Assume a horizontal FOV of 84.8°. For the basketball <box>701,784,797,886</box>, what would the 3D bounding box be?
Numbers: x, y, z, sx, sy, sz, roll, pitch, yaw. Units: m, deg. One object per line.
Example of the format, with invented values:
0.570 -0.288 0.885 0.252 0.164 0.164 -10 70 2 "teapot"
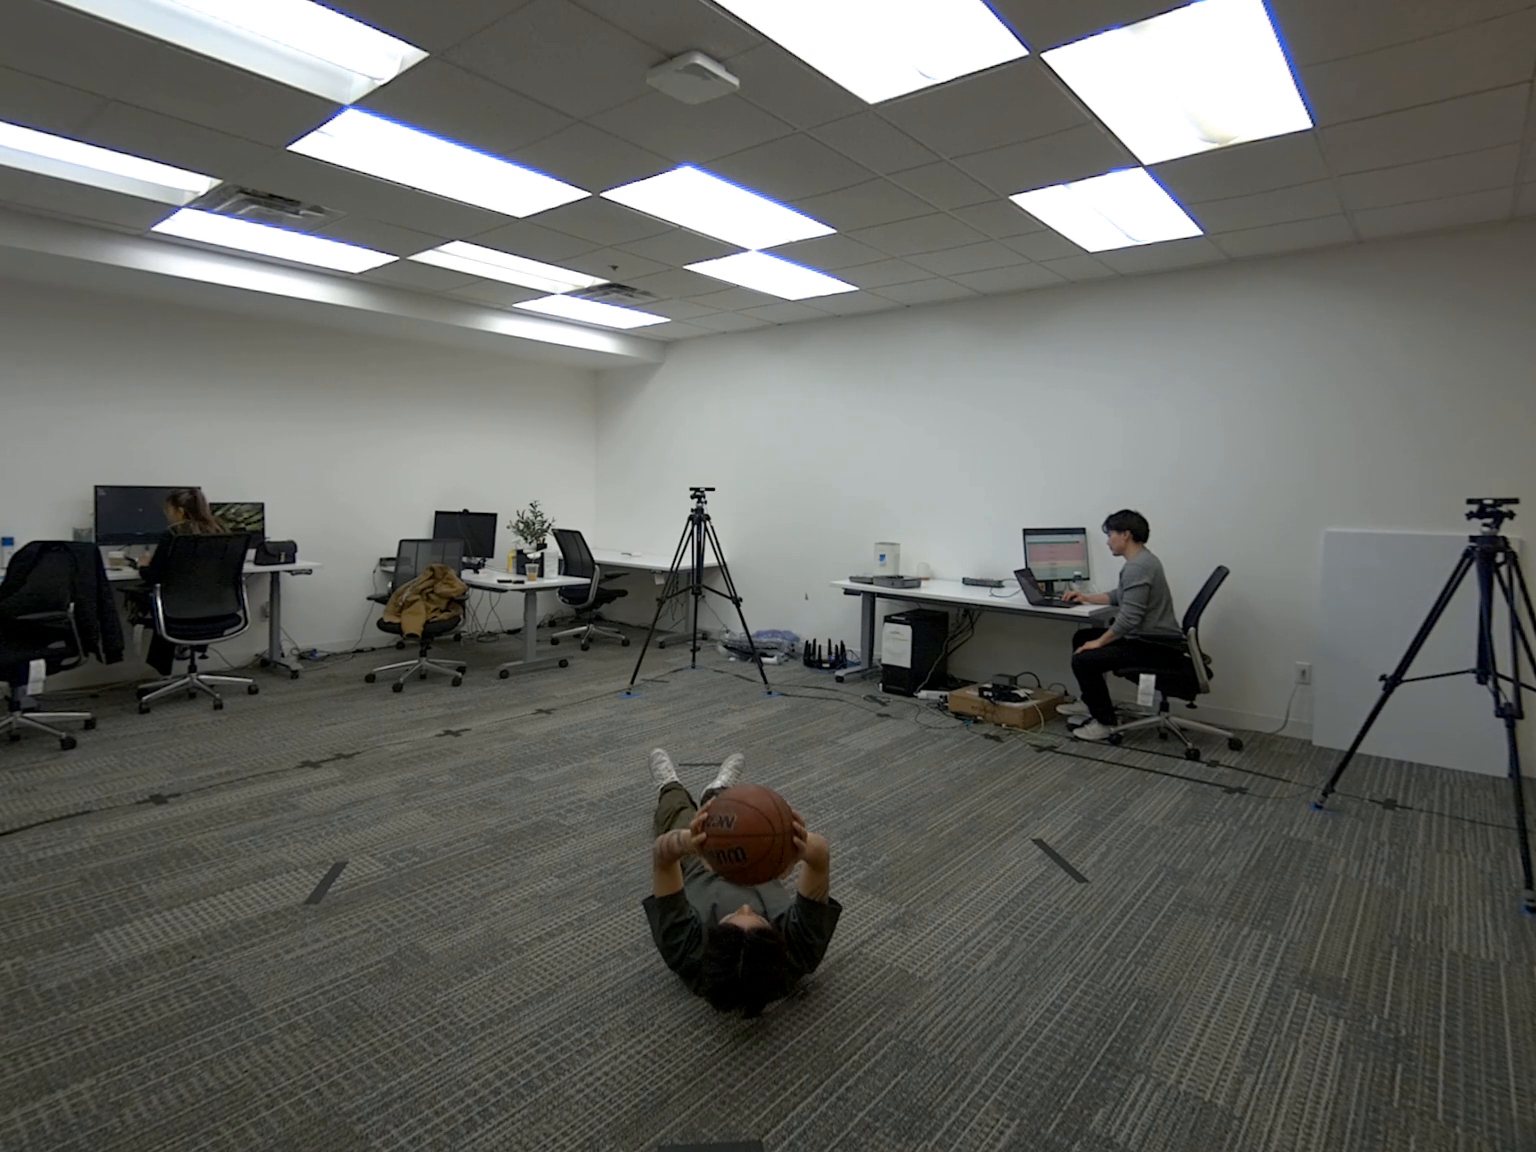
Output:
-0.056 0.640 2.111 0.235 0.235 0.237 1 4 -2 "basketball"
